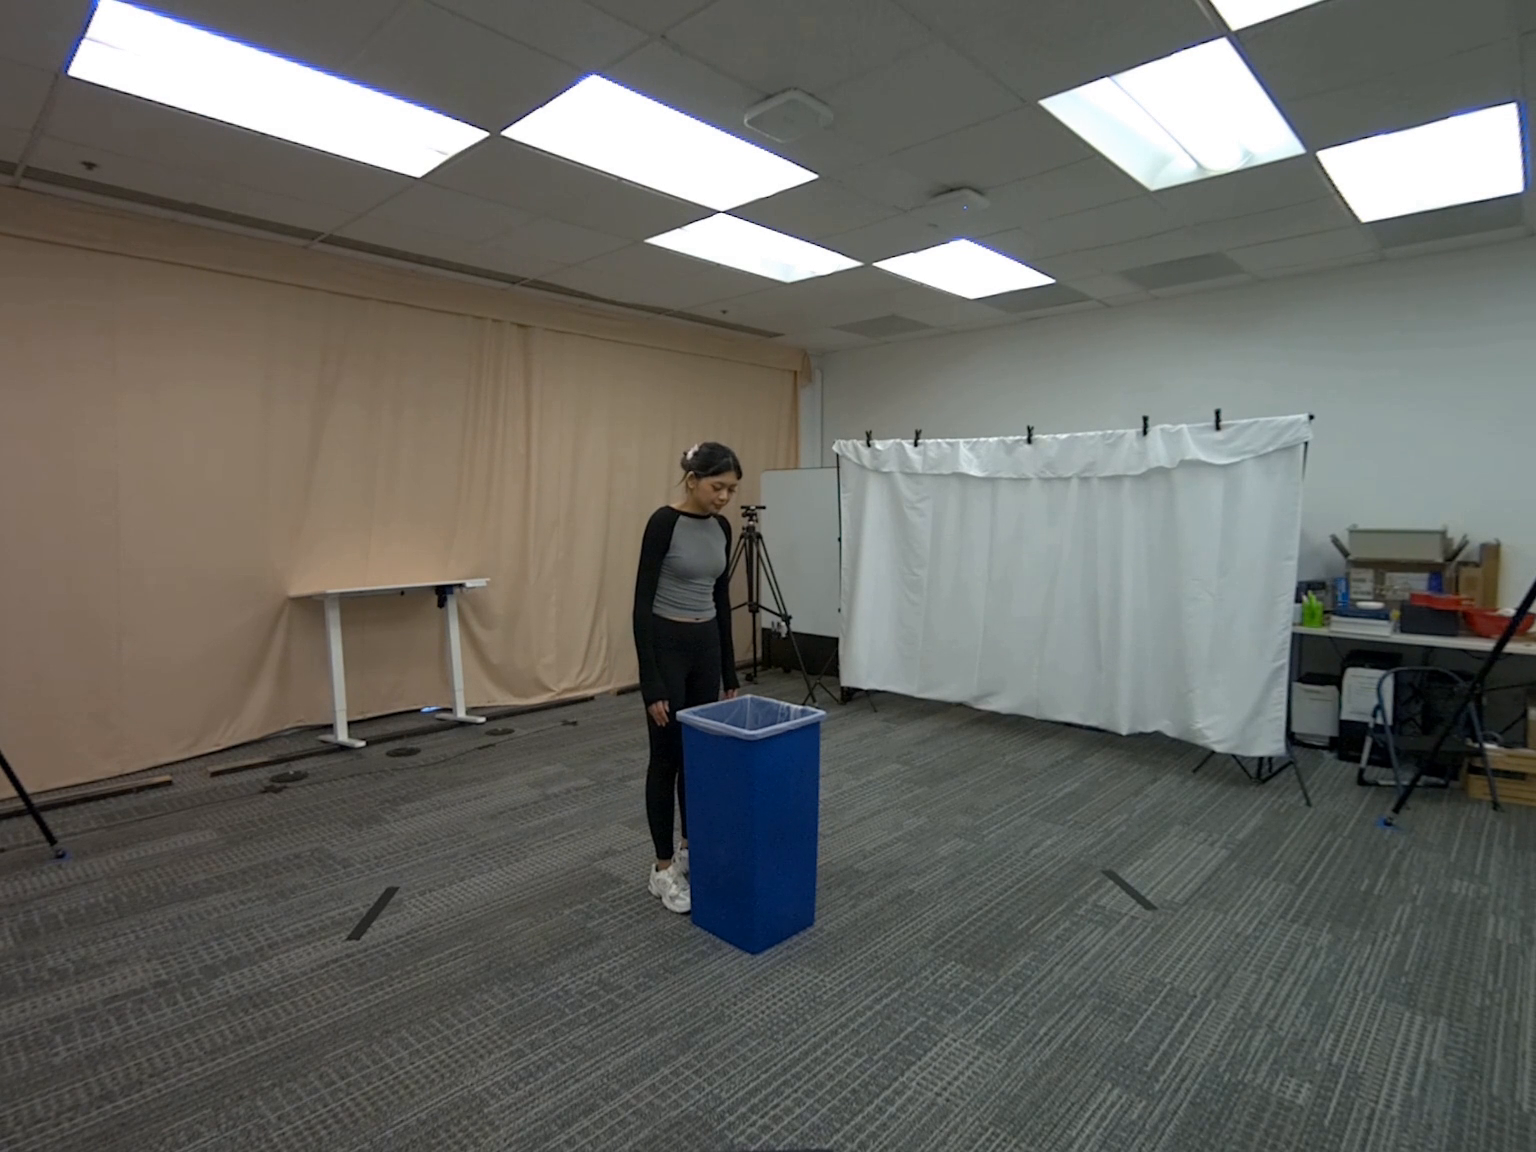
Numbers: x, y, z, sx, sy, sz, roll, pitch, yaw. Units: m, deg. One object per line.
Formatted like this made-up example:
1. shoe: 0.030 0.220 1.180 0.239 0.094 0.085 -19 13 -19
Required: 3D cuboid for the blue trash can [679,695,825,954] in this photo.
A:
1. blue trash can: -0.050 0.801 2.786 0.390 0.712 0.362 3 4 44
